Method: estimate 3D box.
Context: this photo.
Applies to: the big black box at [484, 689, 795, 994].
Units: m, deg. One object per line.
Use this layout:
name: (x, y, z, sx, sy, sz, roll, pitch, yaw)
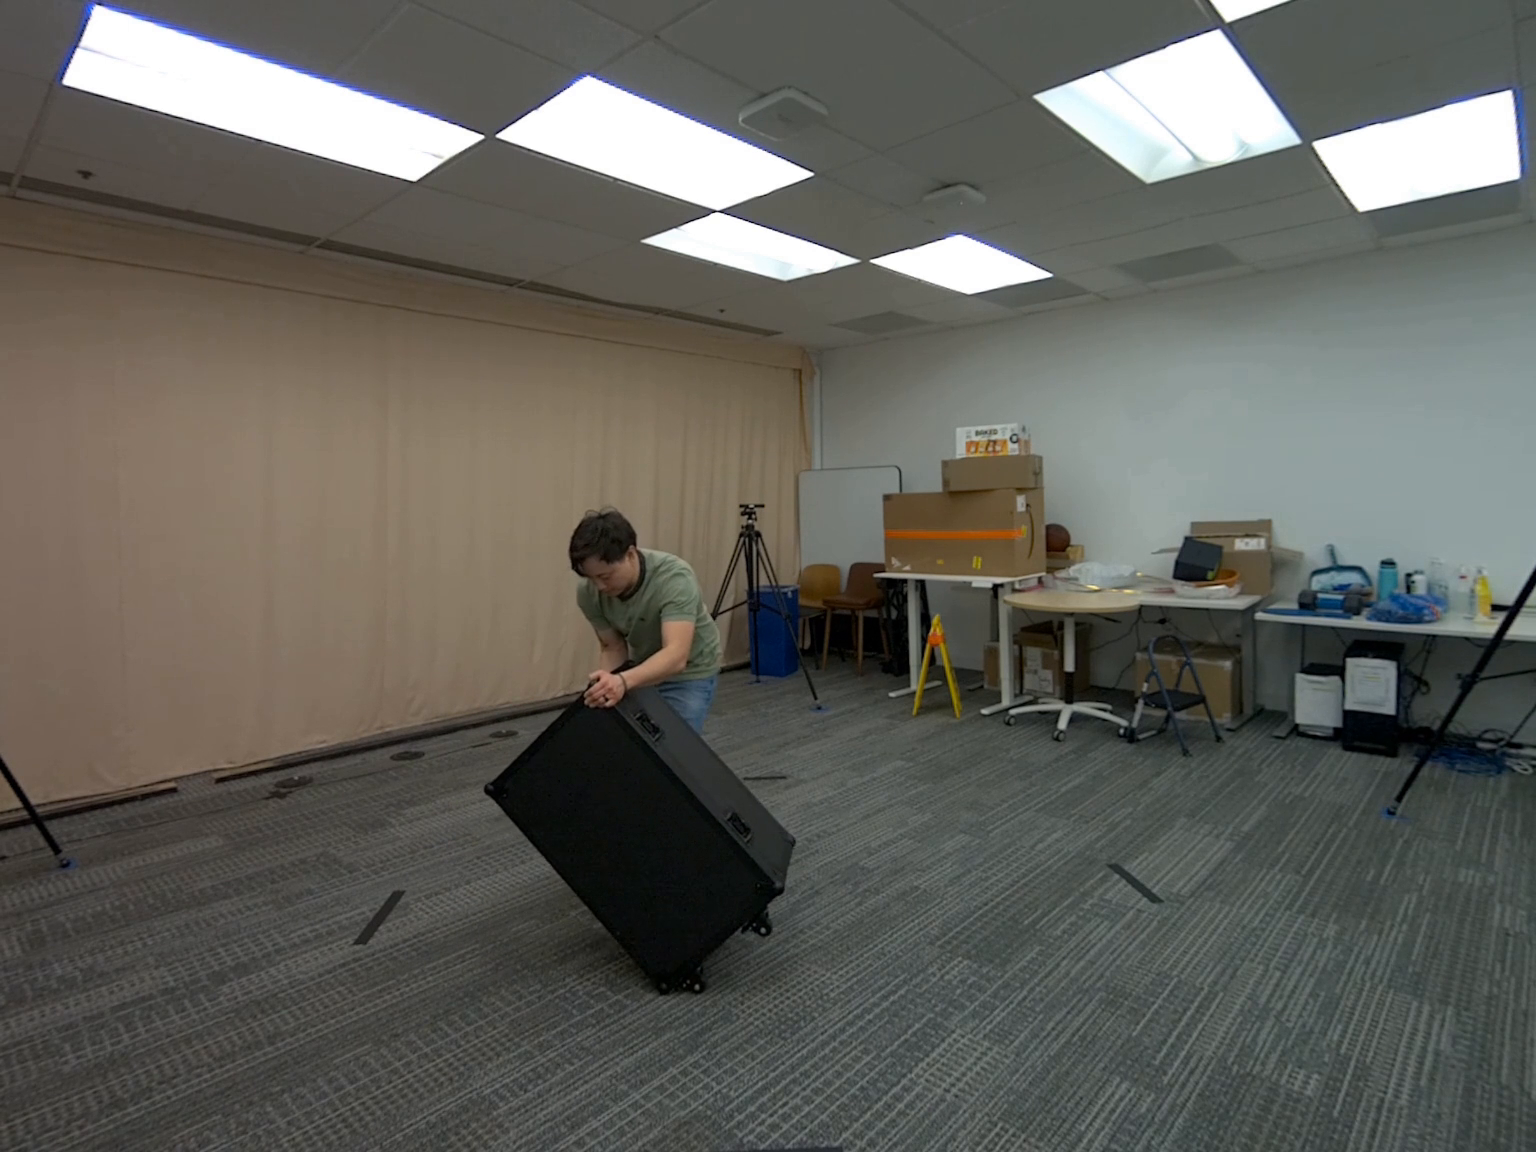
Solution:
big black box: (-0.384, 0.722, 2.574, 0.523, 0.866, 0.393, -45, -4, 10)
